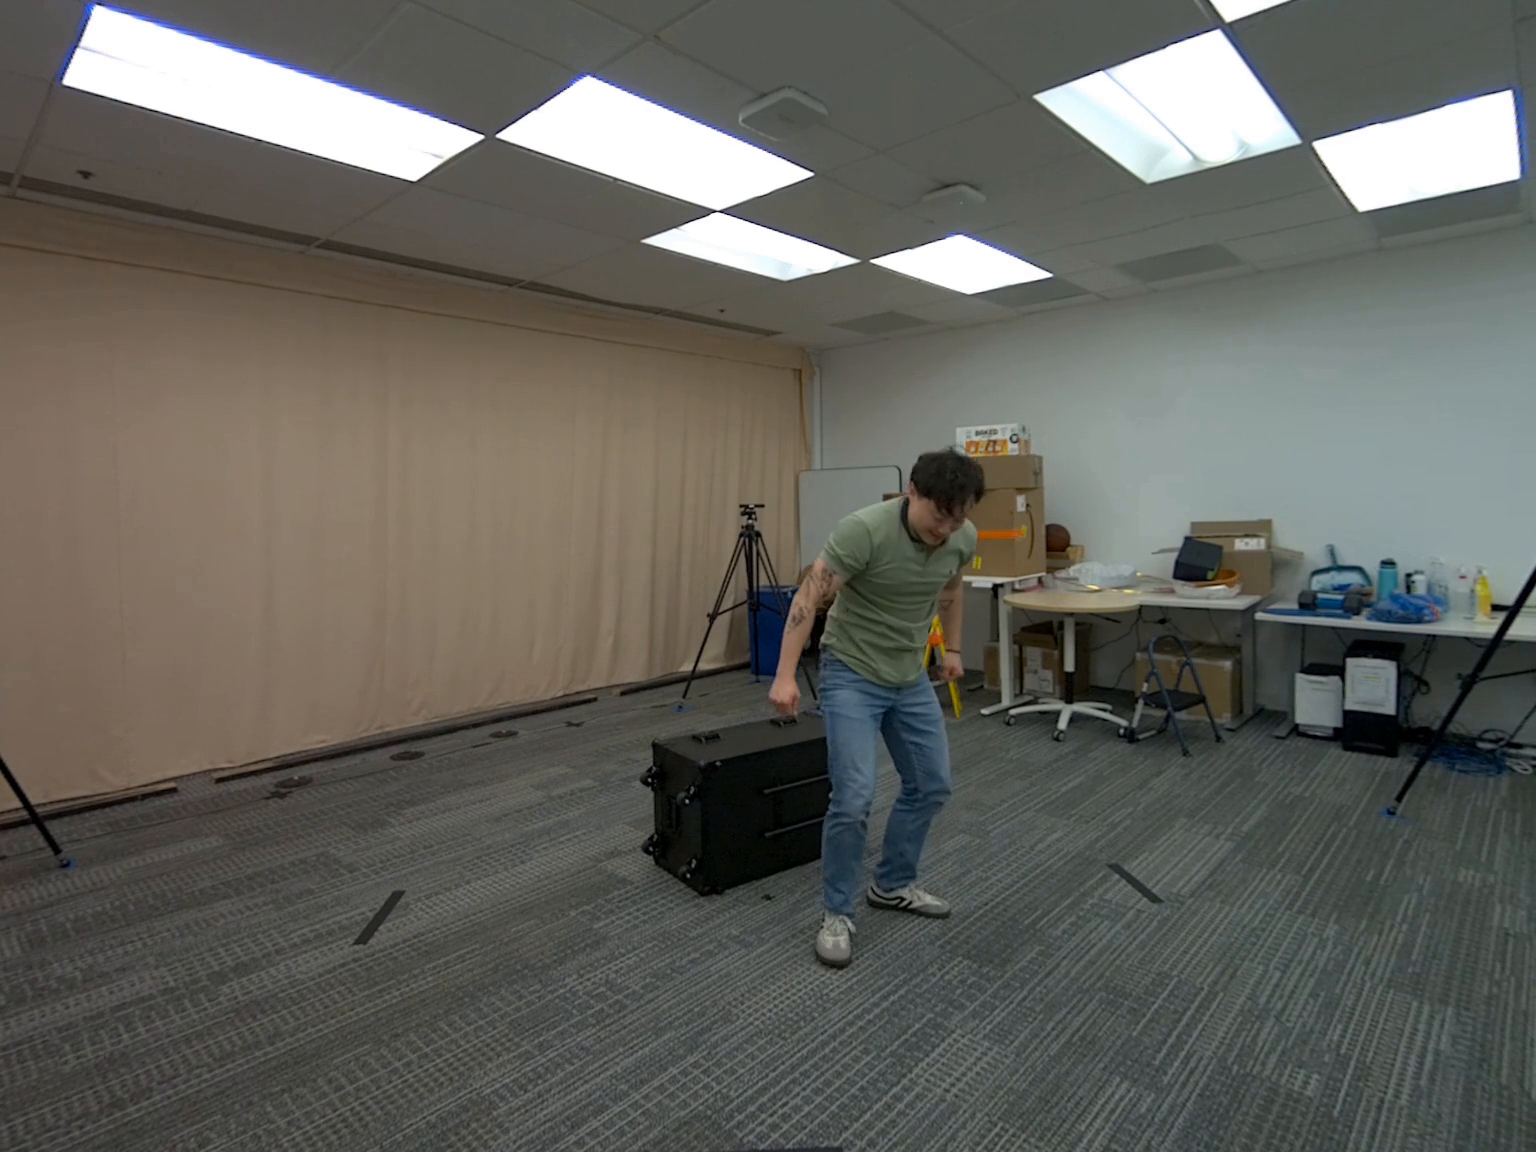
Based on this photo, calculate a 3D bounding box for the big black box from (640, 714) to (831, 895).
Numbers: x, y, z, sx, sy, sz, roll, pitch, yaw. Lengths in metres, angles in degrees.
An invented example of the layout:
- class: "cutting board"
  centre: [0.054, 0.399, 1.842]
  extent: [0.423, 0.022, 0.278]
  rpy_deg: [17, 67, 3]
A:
- class: "big black box"
  centre: [-0.048, 0.870, 3.309]
  extent: [0.837, 0.520, 0.408]
  rpy_deg: [-4, 5, -34]
